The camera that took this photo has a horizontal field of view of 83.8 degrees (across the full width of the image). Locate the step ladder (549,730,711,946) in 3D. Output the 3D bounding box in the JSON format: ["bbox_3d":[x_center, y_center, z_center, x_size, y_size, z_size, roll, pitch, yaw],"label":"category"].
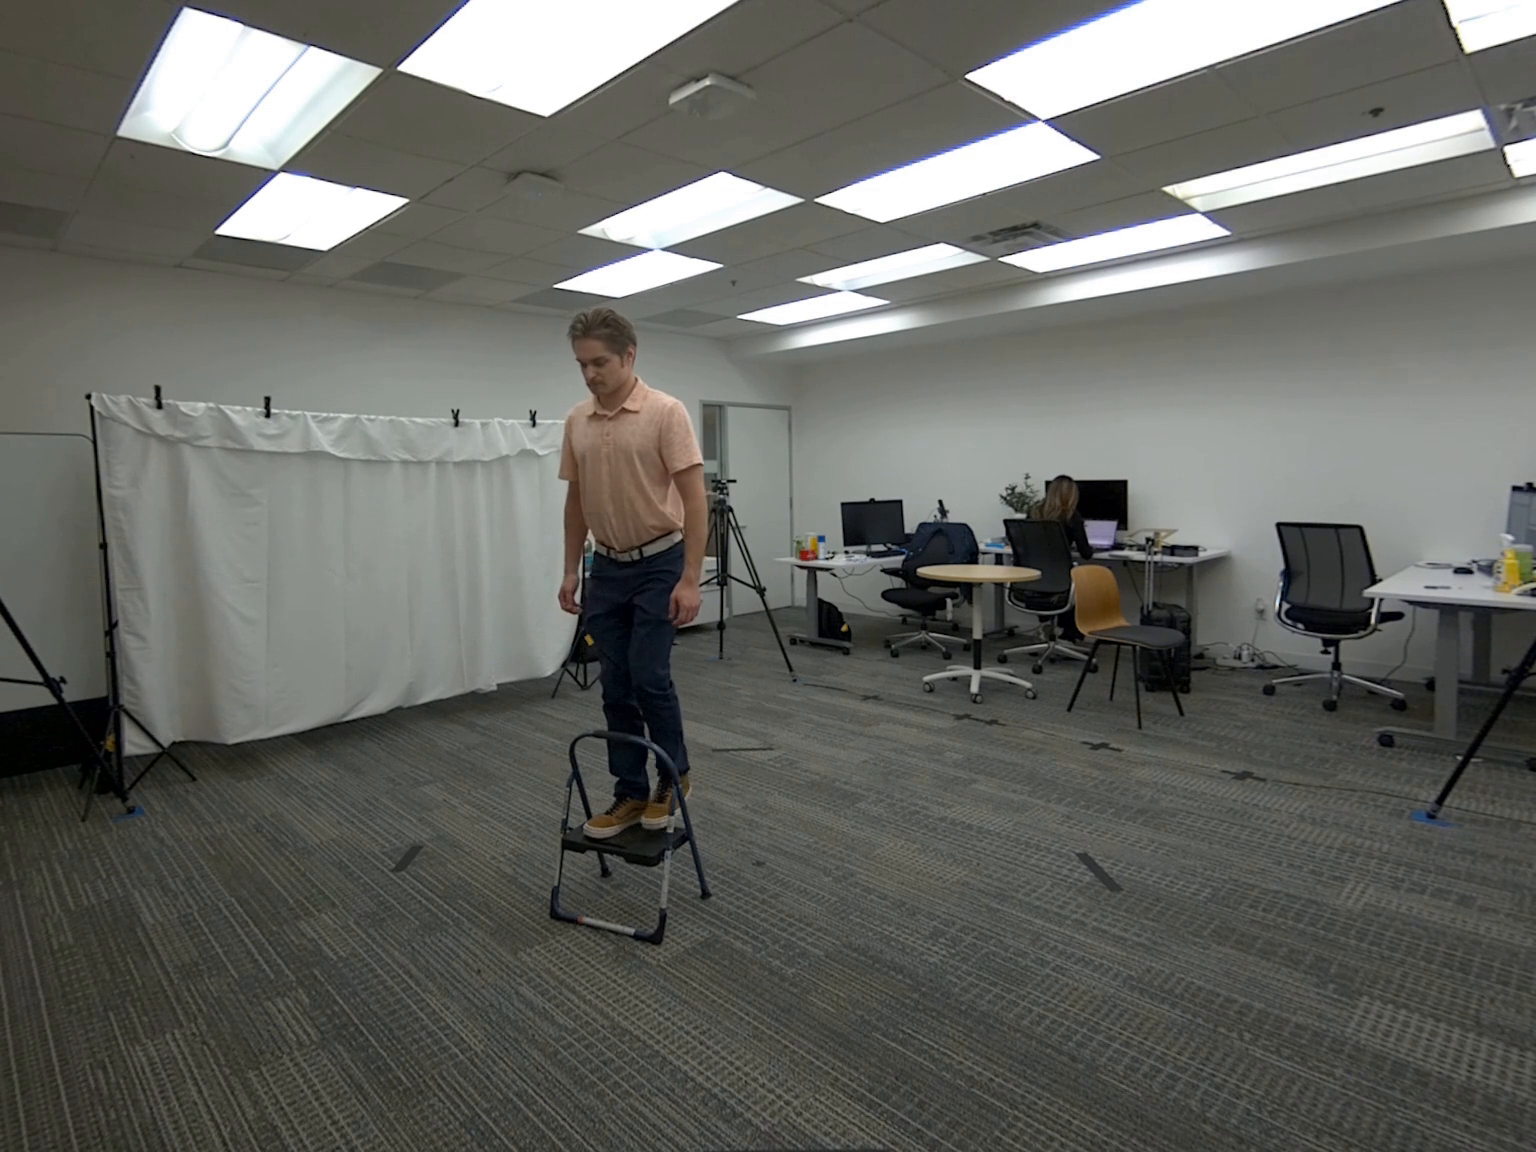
[{"bbox_3d":[-0.456,0.791,2.794,0.440,0.603,0.343,1,5,24],"label":"step ladder"}]
